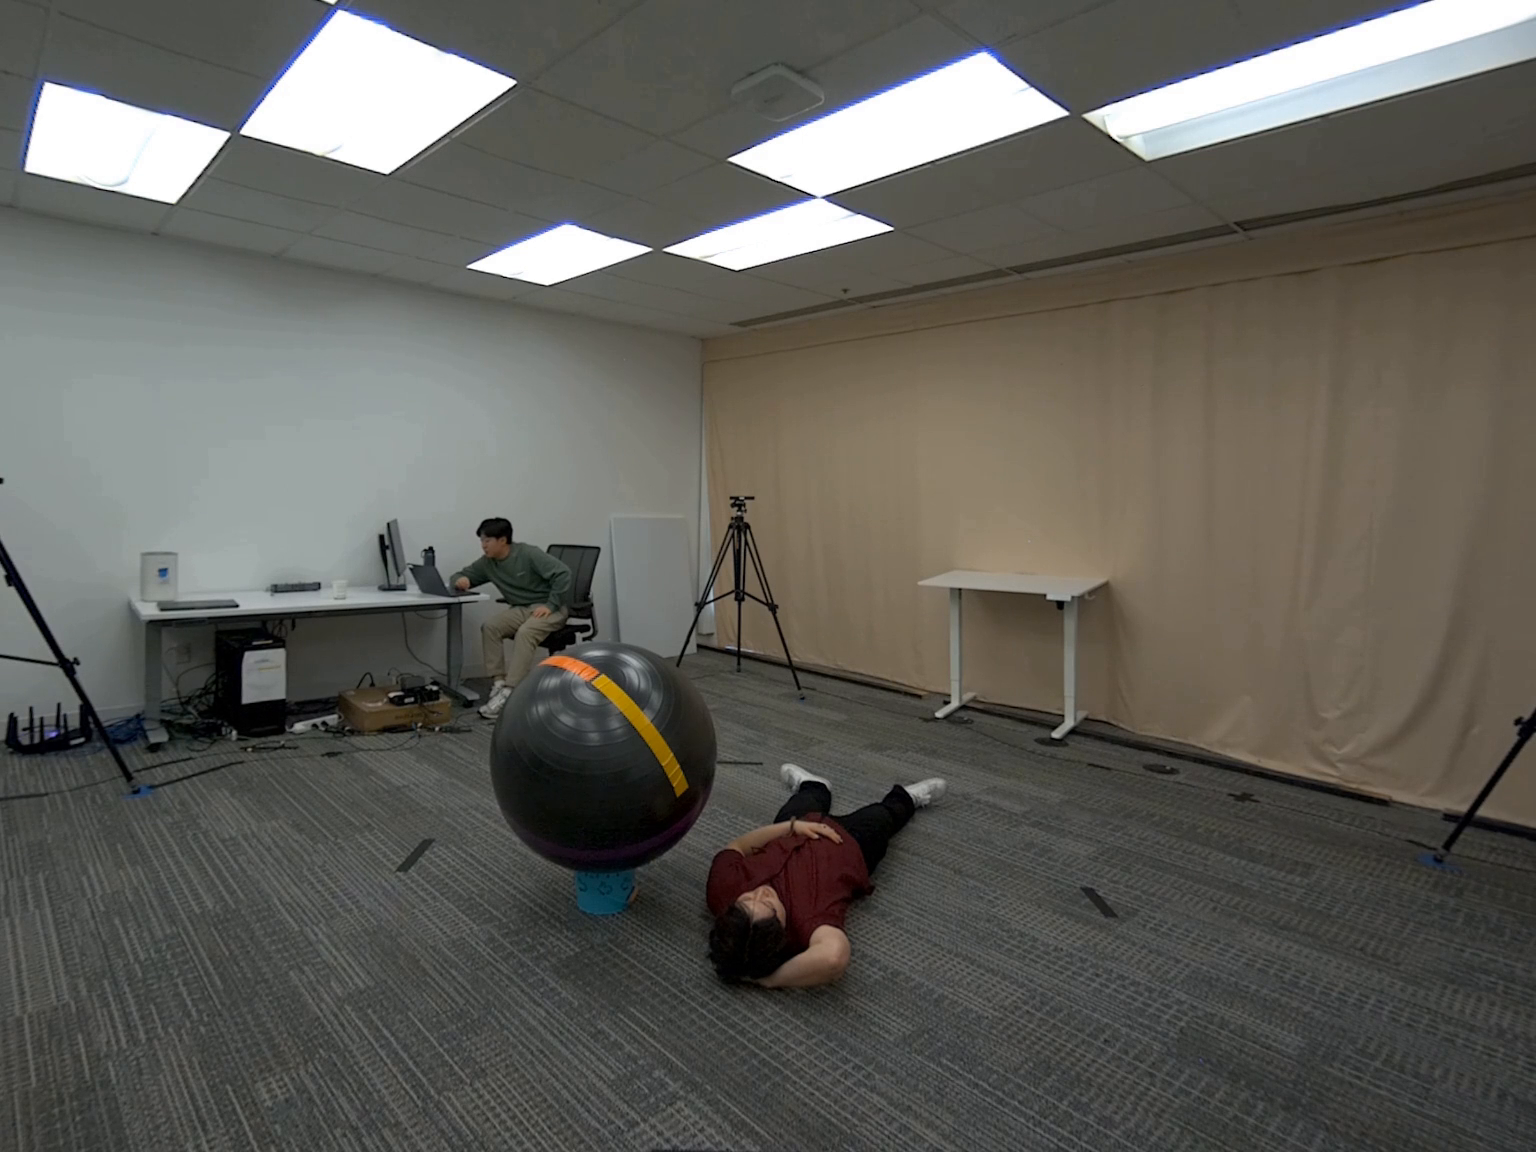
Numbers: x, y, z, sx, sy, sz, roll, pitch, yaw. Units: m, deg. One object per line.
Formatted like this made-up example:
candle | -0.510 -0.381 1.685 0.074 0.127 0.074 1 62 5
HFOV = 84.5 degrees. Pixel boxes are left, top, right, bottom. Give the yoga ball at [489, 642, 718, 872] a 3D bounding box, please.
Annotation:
yoga ball | -0.558 0.608 2.859 0.757 0.756 0.761 1 4 -1
